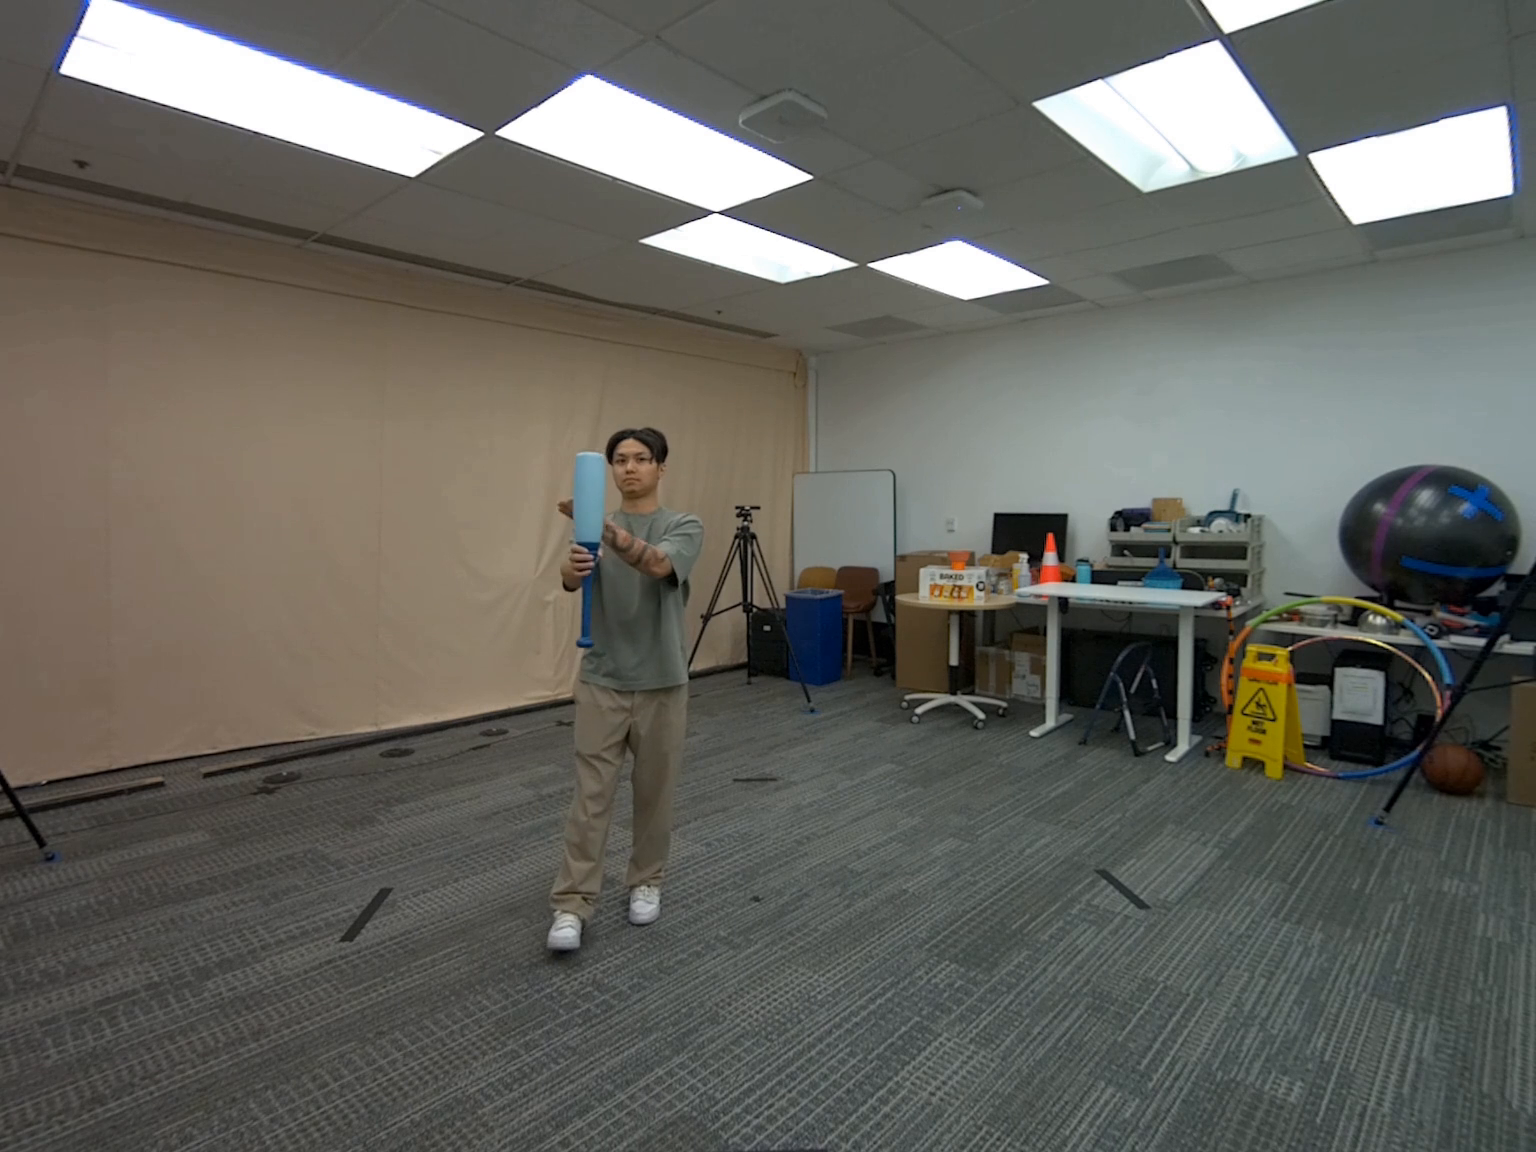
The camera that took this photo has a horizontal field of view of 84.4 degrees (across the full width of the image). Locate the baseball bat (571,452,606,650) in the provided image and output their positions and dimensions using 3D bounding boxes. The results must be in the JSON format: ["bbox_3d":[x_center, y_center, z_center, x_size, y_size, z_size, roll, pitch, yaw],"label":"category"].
[{"bbox_3d":[-0.500,-0.071,2.345,0.089,0.544,0.089,0,-3,-2],"label":"baseball bat"}]
